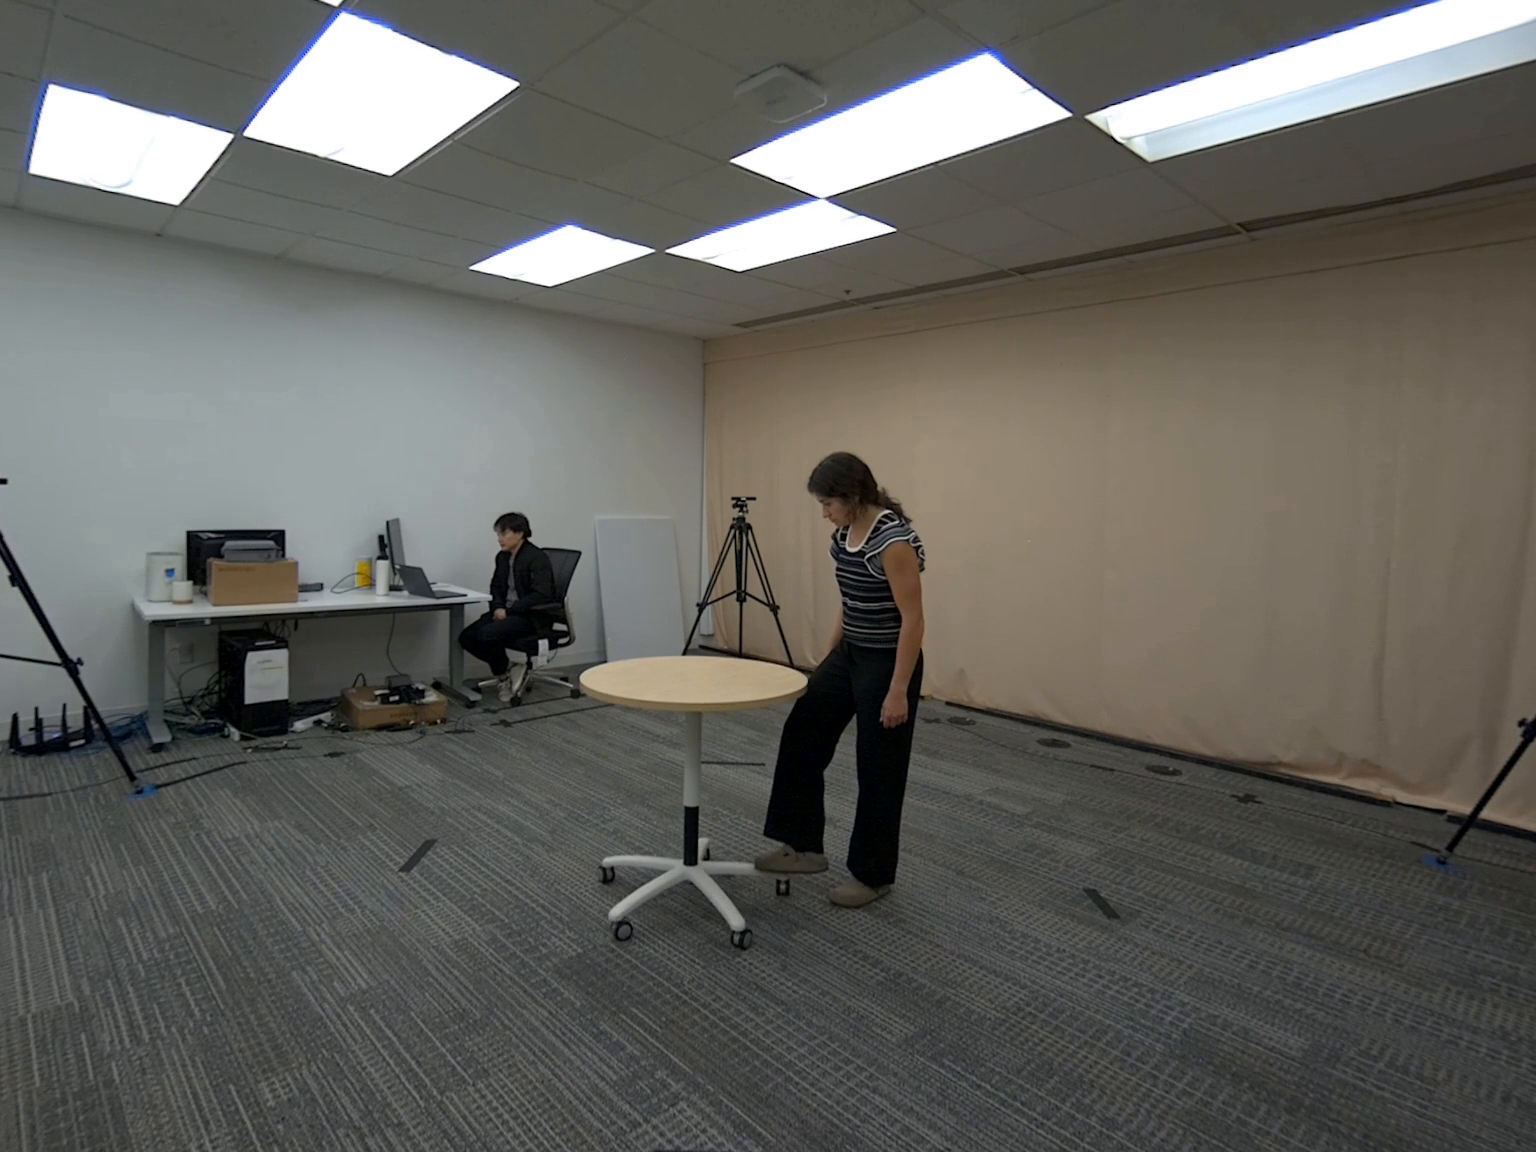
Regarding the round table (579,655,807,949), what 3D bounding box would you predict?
[{"bbox_3d":[-0.261,0.731,2.853,0.784,0.785,0.787,1,4,-1],"label":"round table"}]
